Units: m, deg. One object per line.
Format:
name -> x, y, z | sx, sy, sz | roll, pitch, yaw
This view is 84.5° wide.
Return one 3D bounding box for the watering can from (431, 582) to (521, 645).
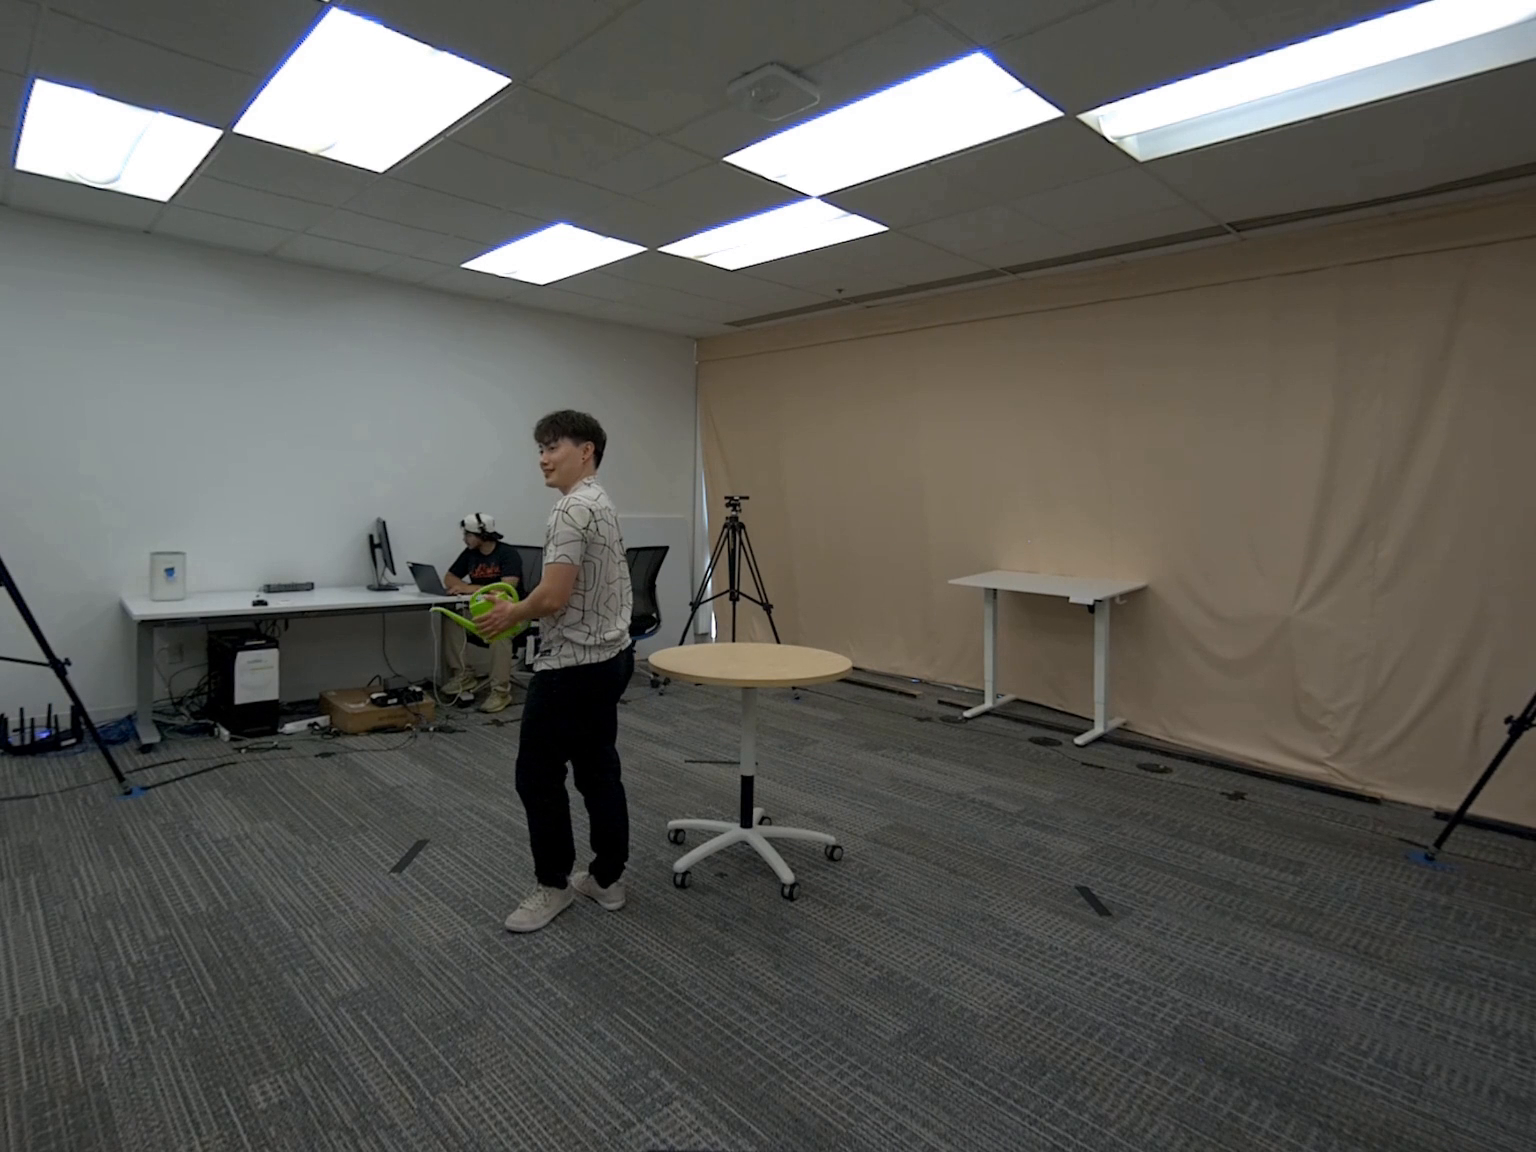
watering can -> -0.958, 0.129, 2.795 | 0.279, 0.176, 0.098 | -21, 4, 10
